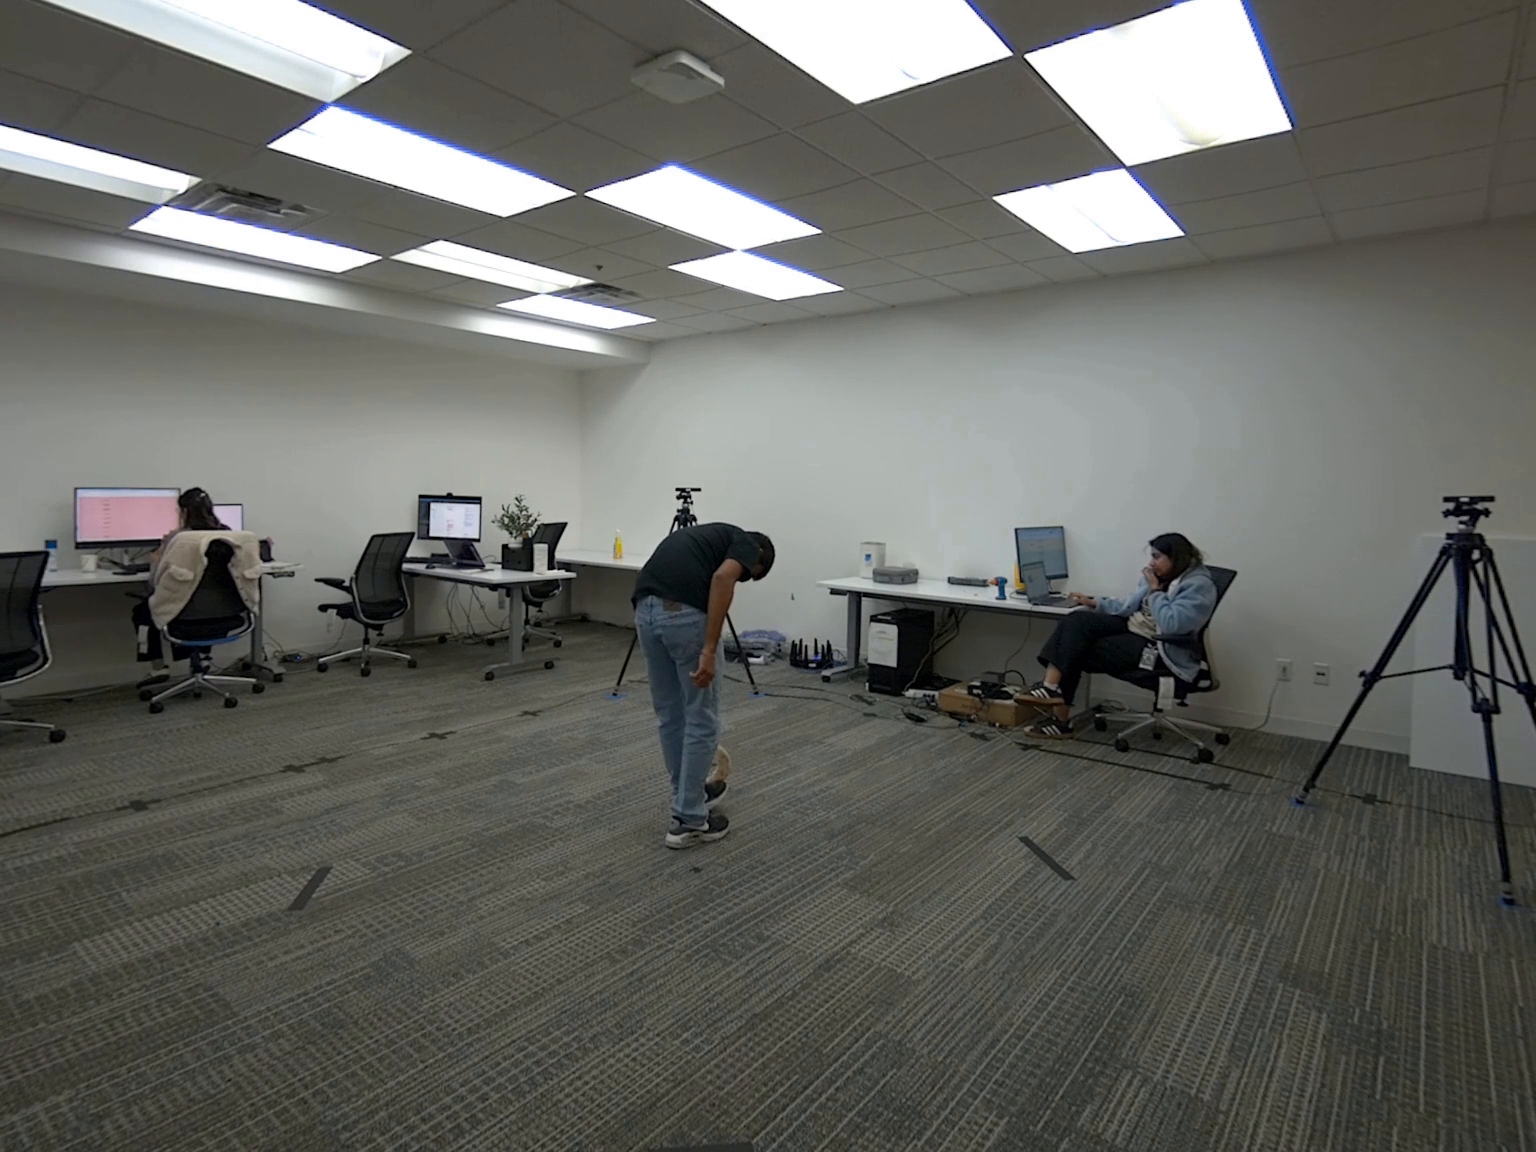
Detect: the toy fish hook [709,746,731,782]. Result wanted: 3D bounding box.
[{"bbox_3d":[-0.388,0.777,3.866,0.224,0.493,0.049,-42,19,-7],"label":"toy fish hook"}]
